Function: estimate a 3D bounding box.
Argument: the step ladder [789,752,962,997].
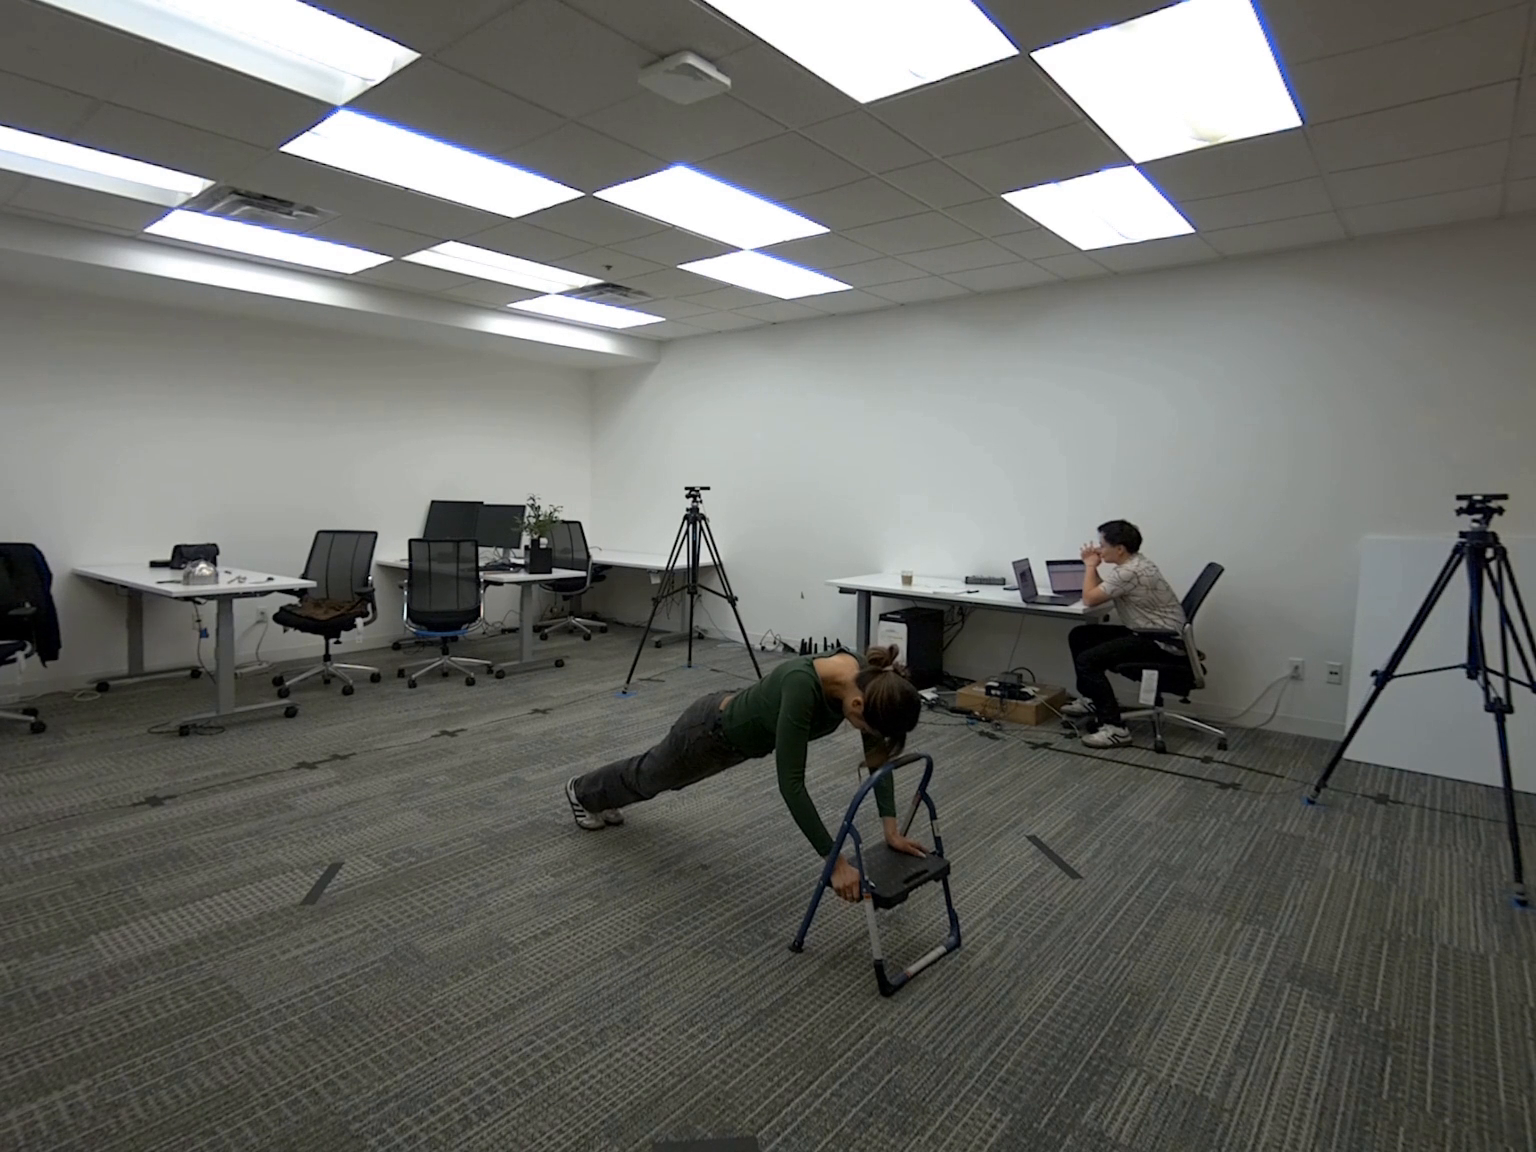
[{"bbox_3d":[0.333,0.827,2.578,0.361,0.604,0.417,5,5,43],"label":"step ladder"}]
